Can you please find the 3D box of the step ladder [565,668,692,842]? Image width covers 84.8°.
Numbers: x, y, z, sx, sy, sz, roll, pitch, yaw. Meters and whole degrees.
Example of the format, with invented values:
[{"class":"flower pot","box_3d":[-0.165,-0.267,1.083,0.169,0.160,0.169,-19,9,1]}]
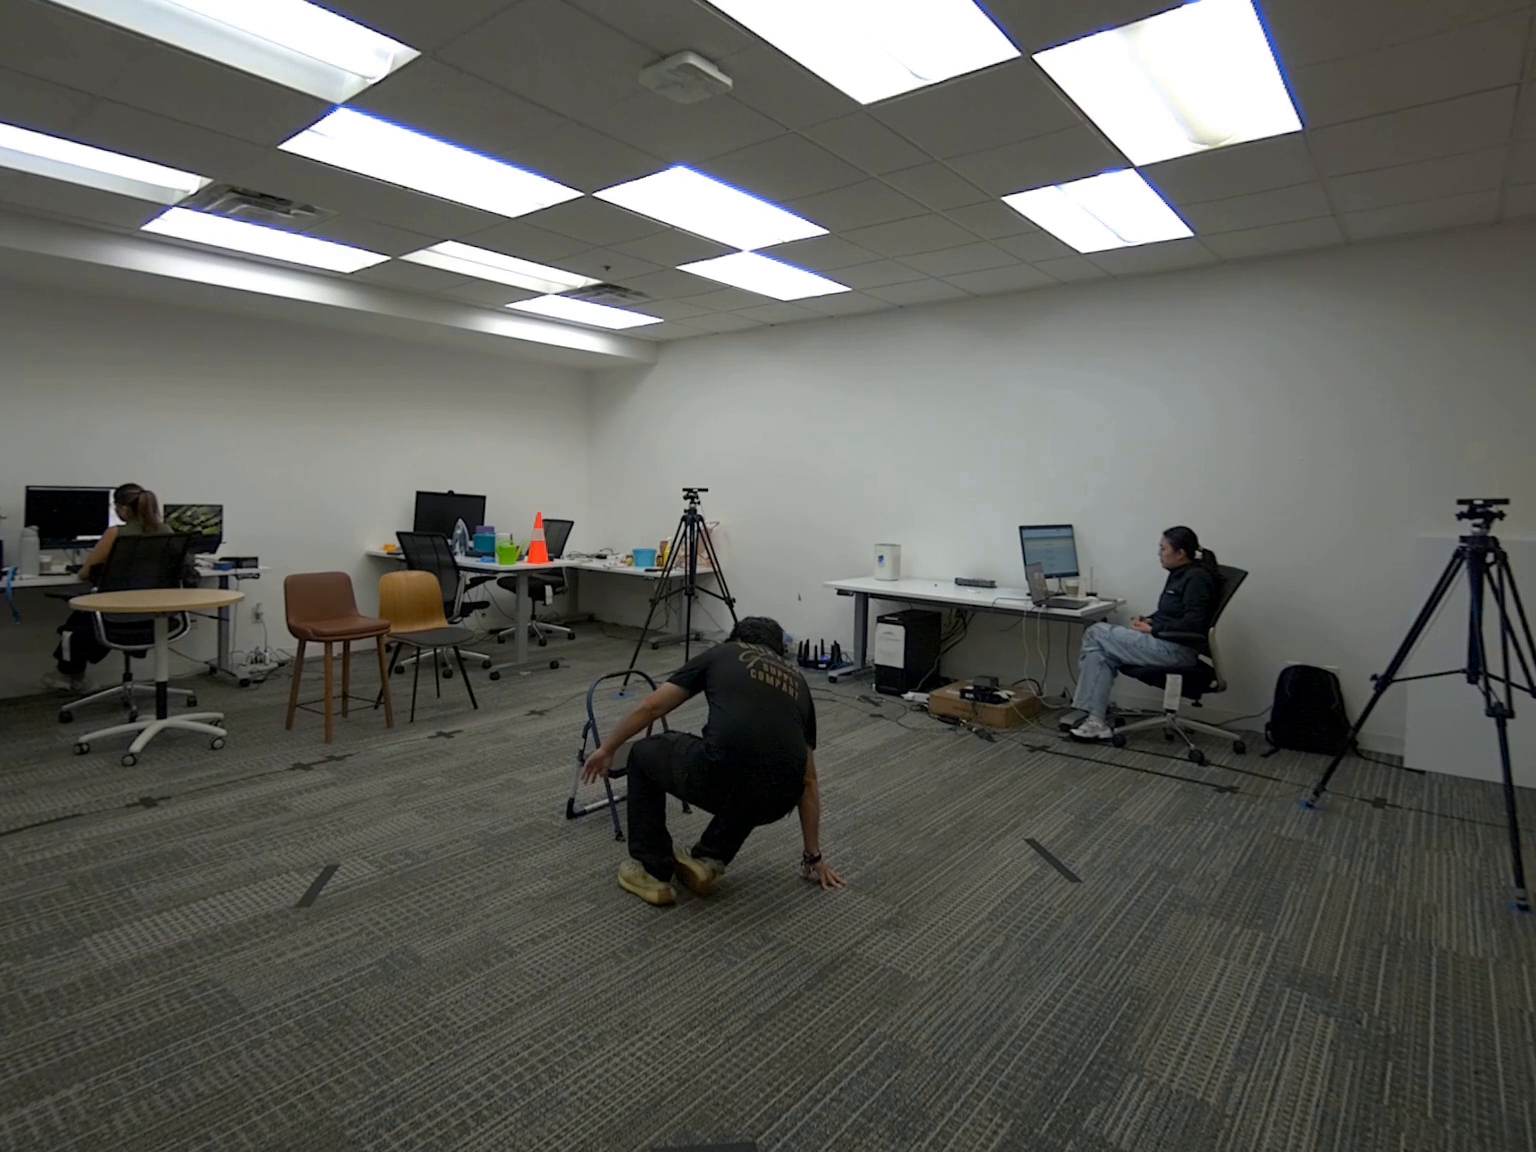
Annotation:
[{"class":"step ladder","box_3d":[-0.594,0.714,3.598,0.361,0.605,0.418,3,4,38]}]
